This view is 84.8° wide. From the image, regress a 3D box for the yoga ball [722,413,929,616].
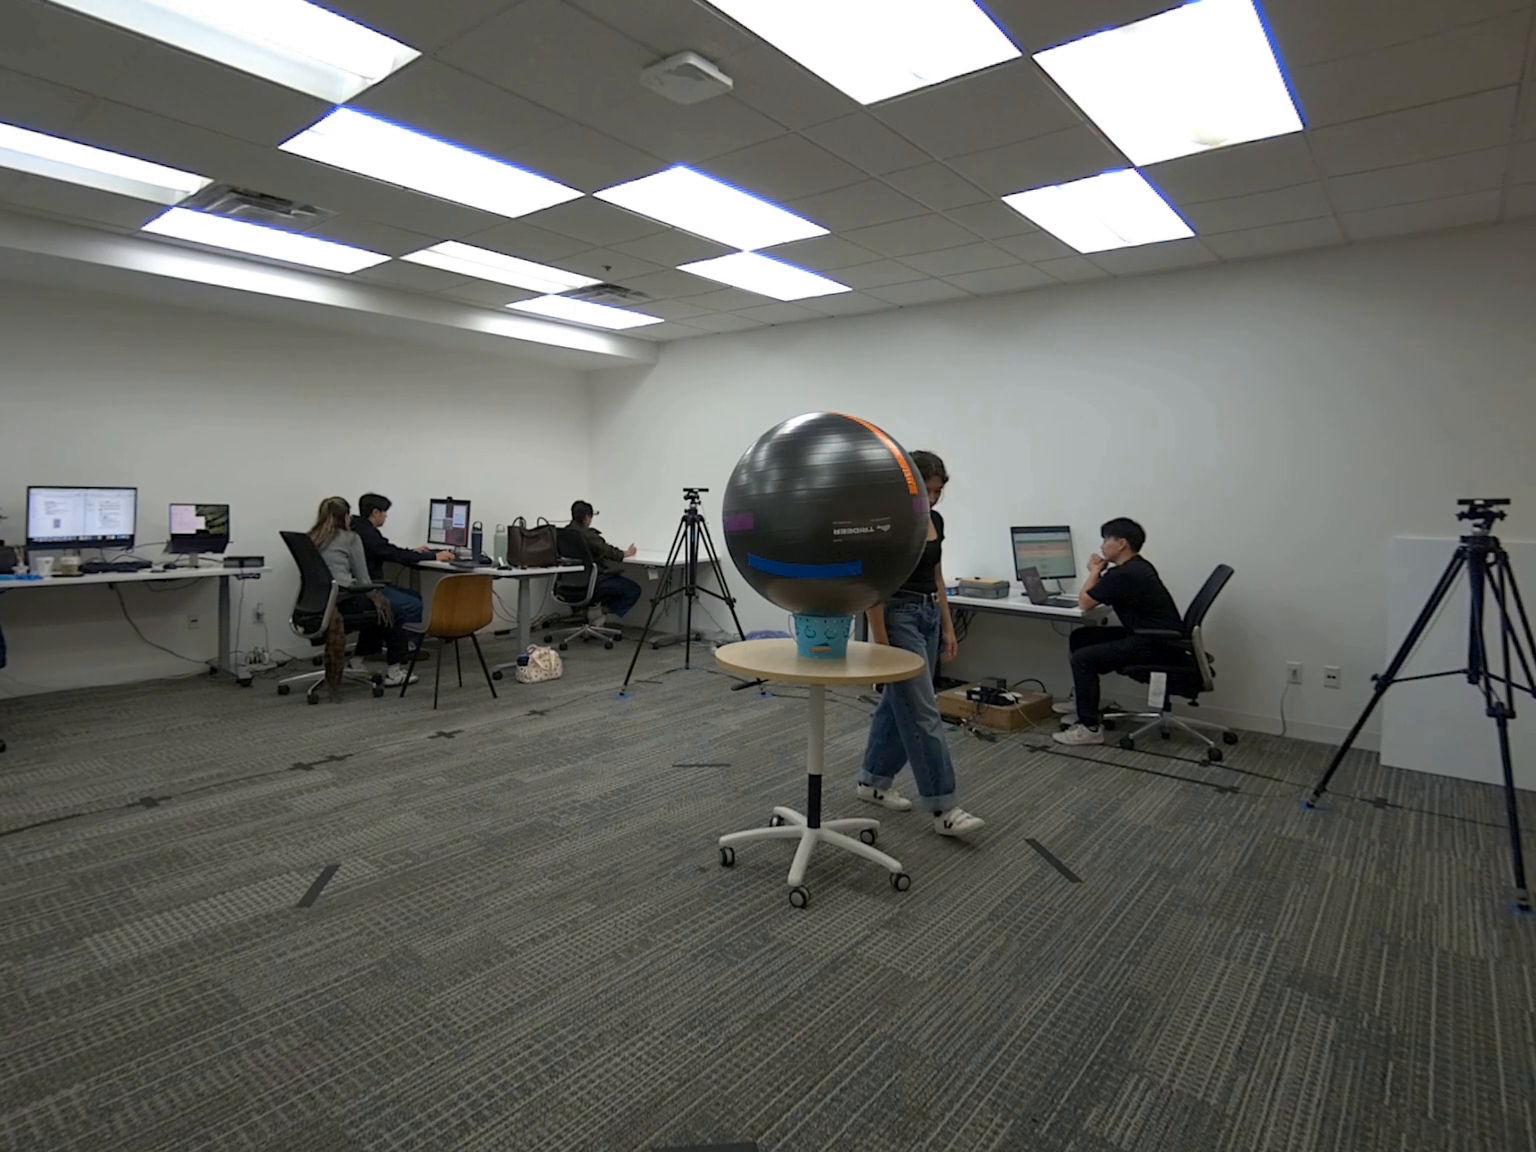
[{"bbox_3d":[0.215,-0.224,3.156,0.757,0.755,0.762,1,4,-2],"label":"yoga ball"}]
